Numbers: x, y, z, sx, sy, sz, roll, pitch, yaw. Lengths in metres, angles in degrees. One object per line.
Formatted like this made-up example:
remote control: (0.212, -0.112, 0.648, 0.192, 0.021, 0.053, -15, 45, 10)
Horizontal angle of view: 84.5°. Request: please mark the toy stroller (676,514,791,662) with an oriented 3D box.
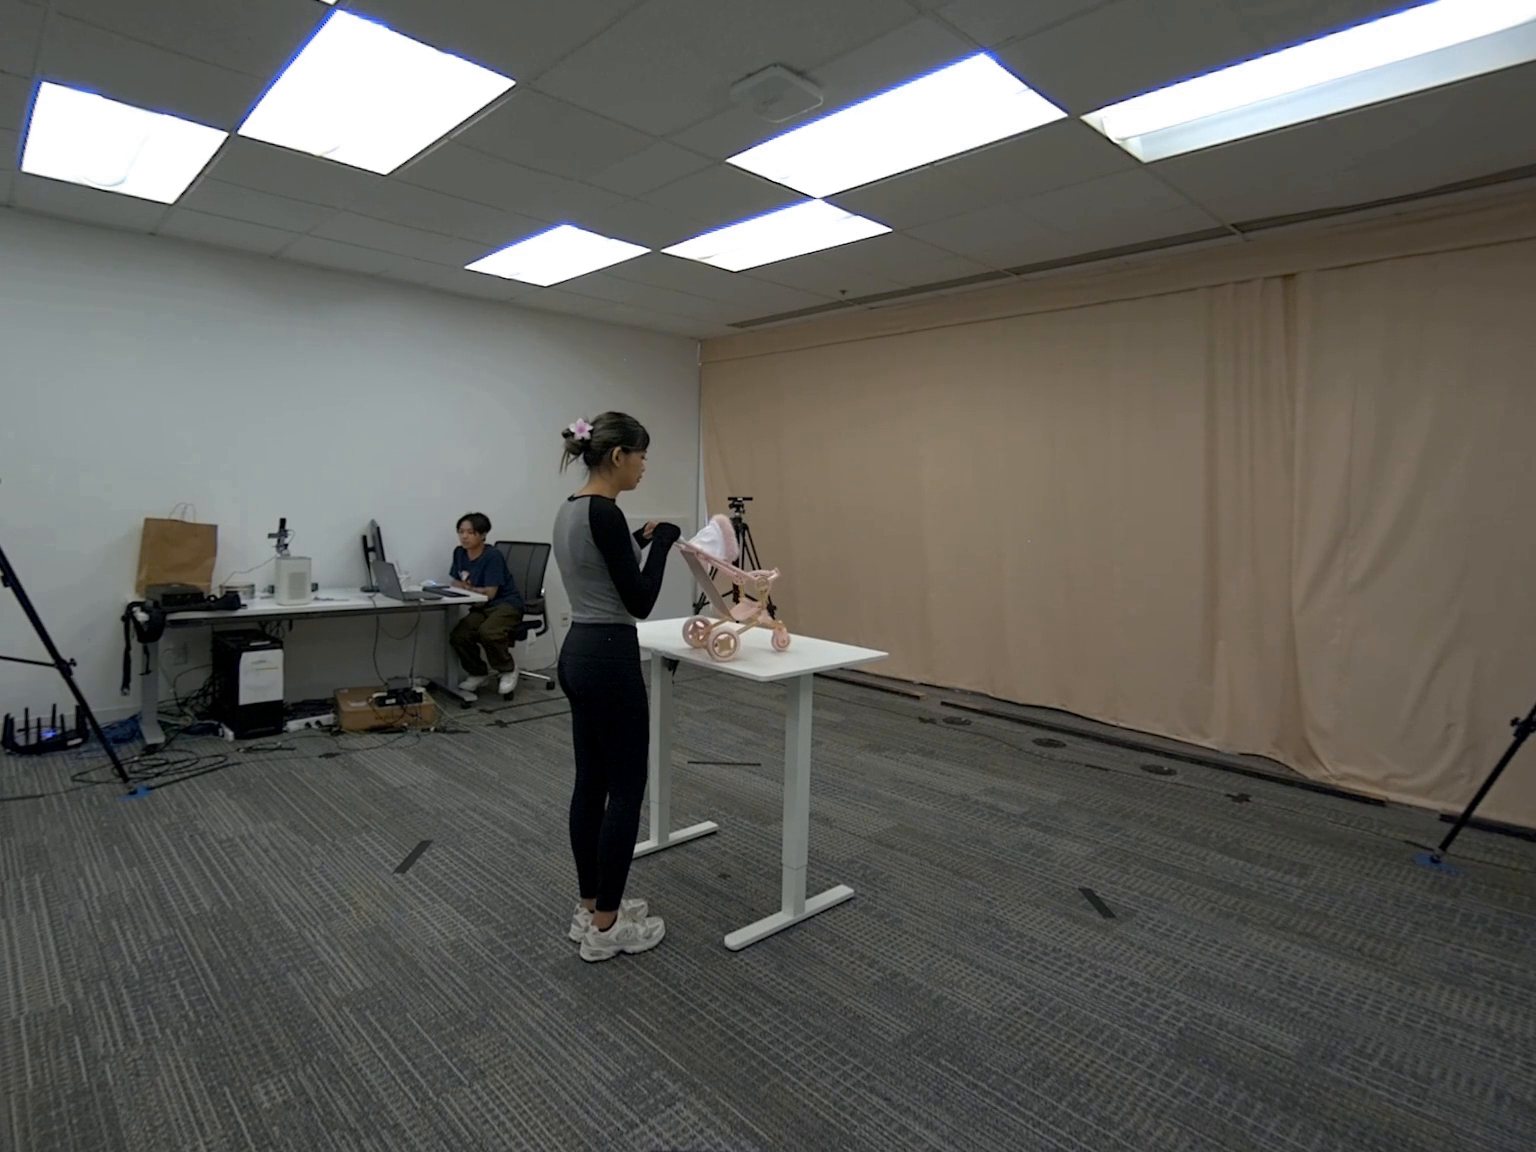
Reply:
toy stroller: (-0.134, 0.036, 2.758, 0.338, 0.531, 0.286, -17, 9, -17)
